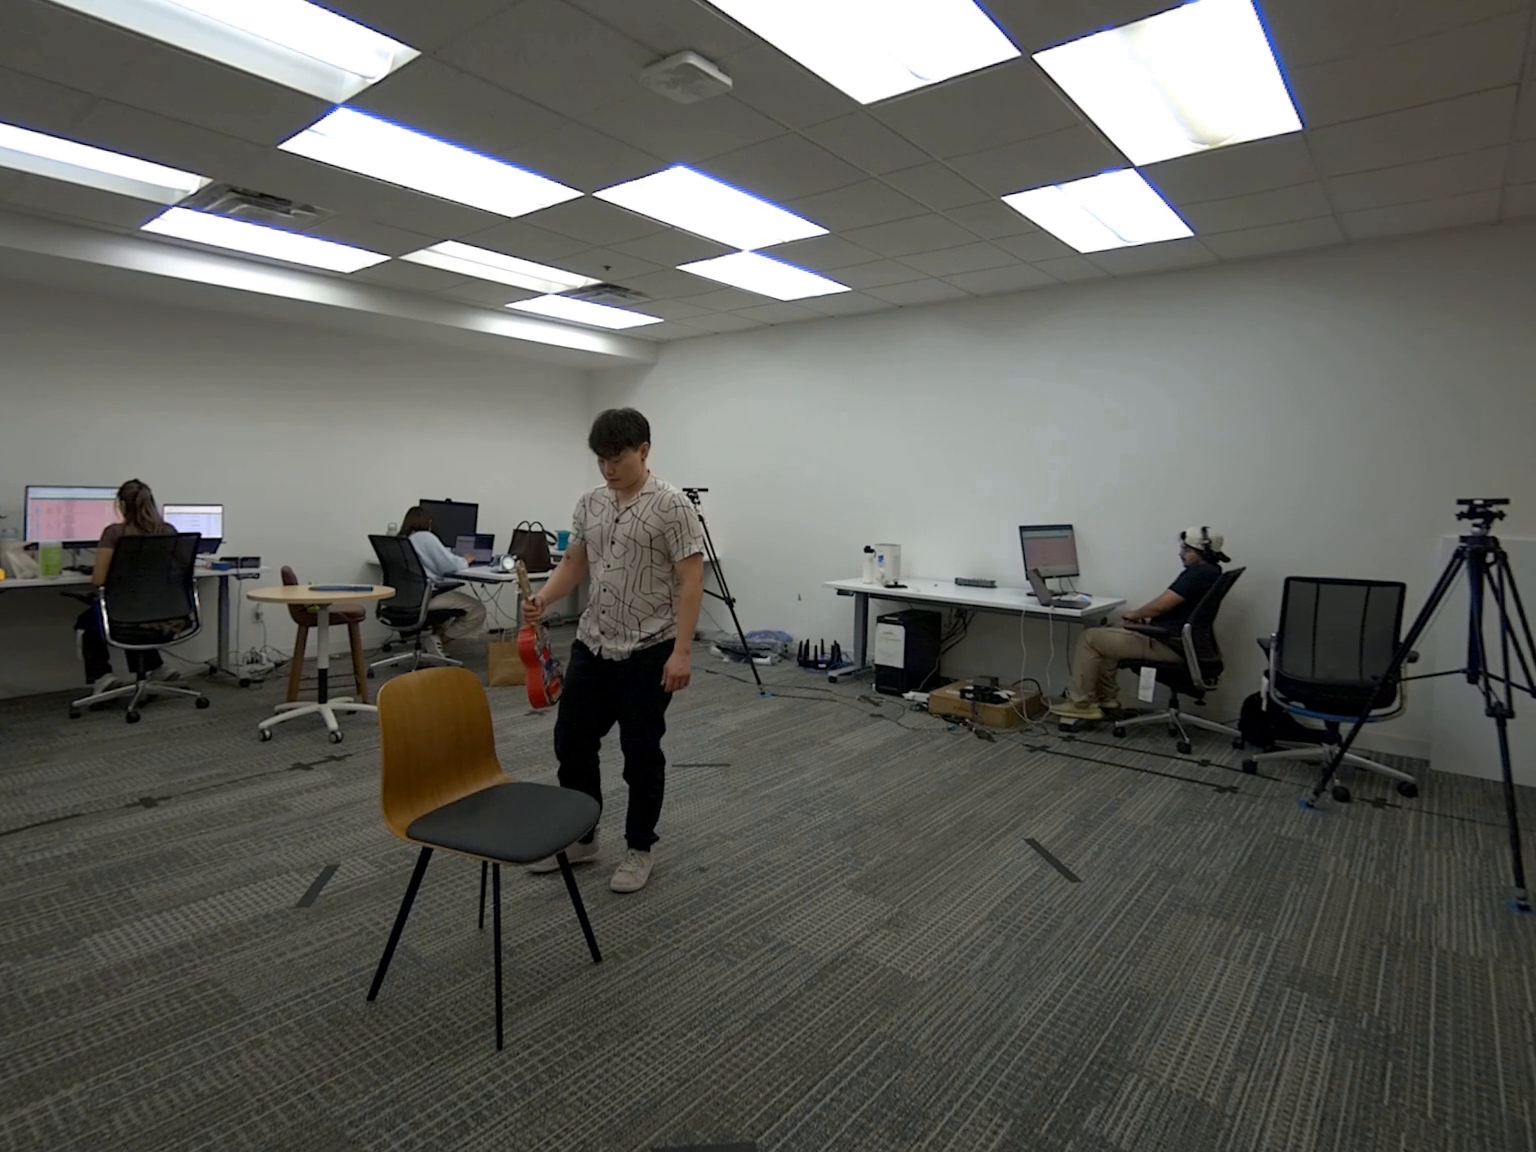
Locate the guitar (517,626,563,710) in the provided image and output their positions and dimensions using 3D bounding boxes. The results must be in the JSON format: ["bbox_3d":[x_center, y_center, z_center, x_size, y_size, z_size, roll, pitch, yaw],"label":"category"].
[{"bbox_3d":[-0.793,0.192,2.859,0.071,0.498,0.191,-11,1,8],"label":"guitar"}]
